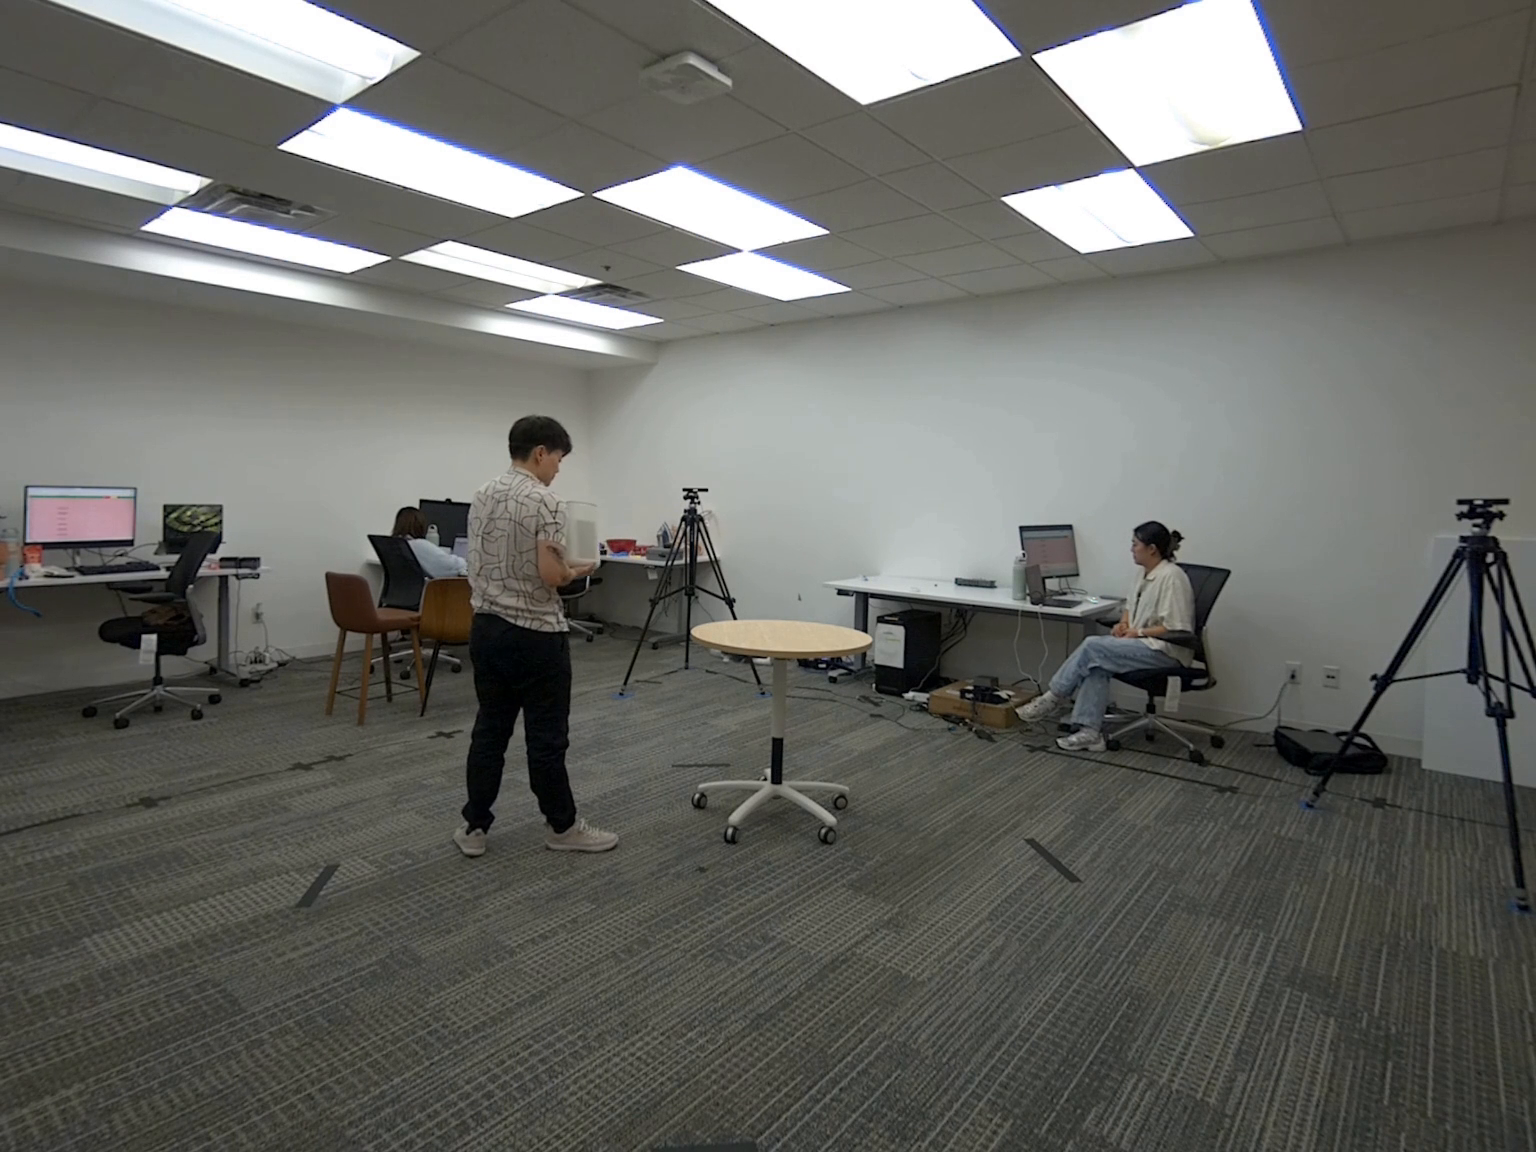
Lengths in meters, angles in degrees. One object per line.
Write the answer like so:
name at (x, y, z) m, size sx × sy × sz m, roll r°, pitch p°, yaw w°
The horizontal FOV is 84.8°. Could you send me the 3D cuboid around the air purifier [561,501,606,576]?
air purifier at (-0.792, -0.145, 3.413) m, size 0.174 × 0.269 × 0.165 m, roll -20°, pitch -19°, yaw 41°
